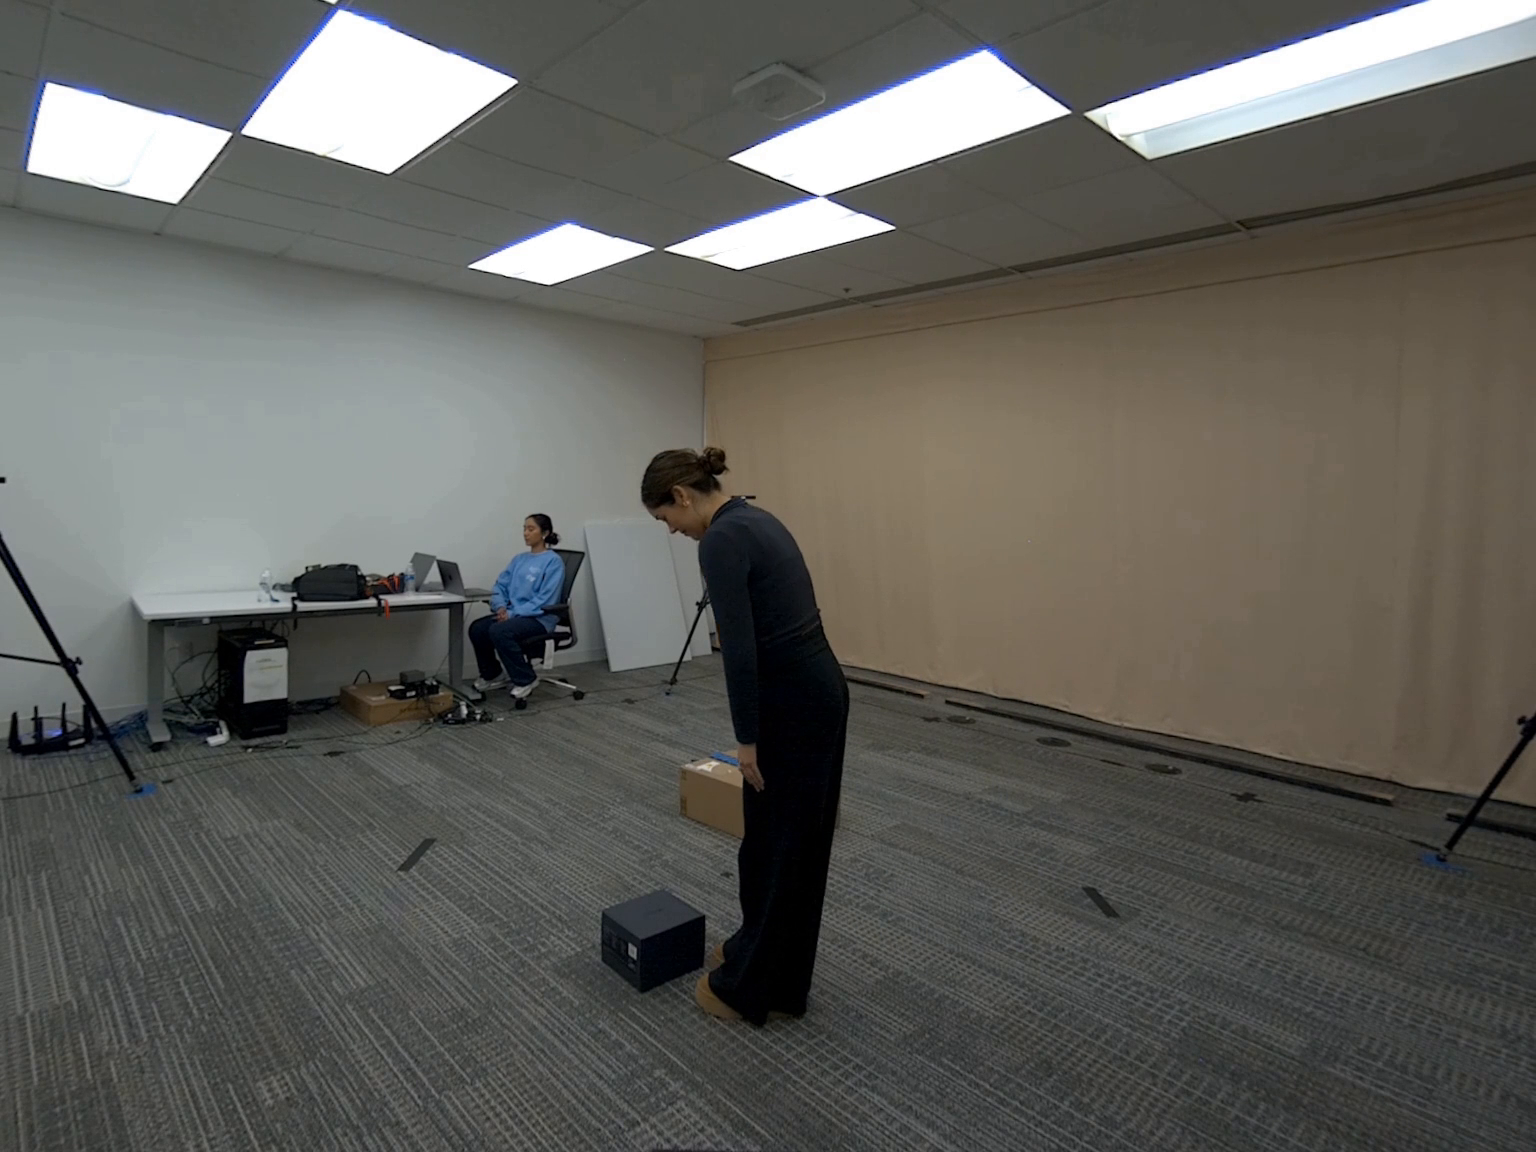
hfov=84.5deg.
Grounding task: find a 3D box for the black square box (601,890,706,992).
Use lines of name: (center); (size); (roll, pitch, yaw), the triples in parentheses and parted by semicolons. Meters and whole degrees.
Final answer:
black square box: (-0.346, 1.072, 2.494); (0.223, 0.155, 0.222); (-3, 6, -42)
